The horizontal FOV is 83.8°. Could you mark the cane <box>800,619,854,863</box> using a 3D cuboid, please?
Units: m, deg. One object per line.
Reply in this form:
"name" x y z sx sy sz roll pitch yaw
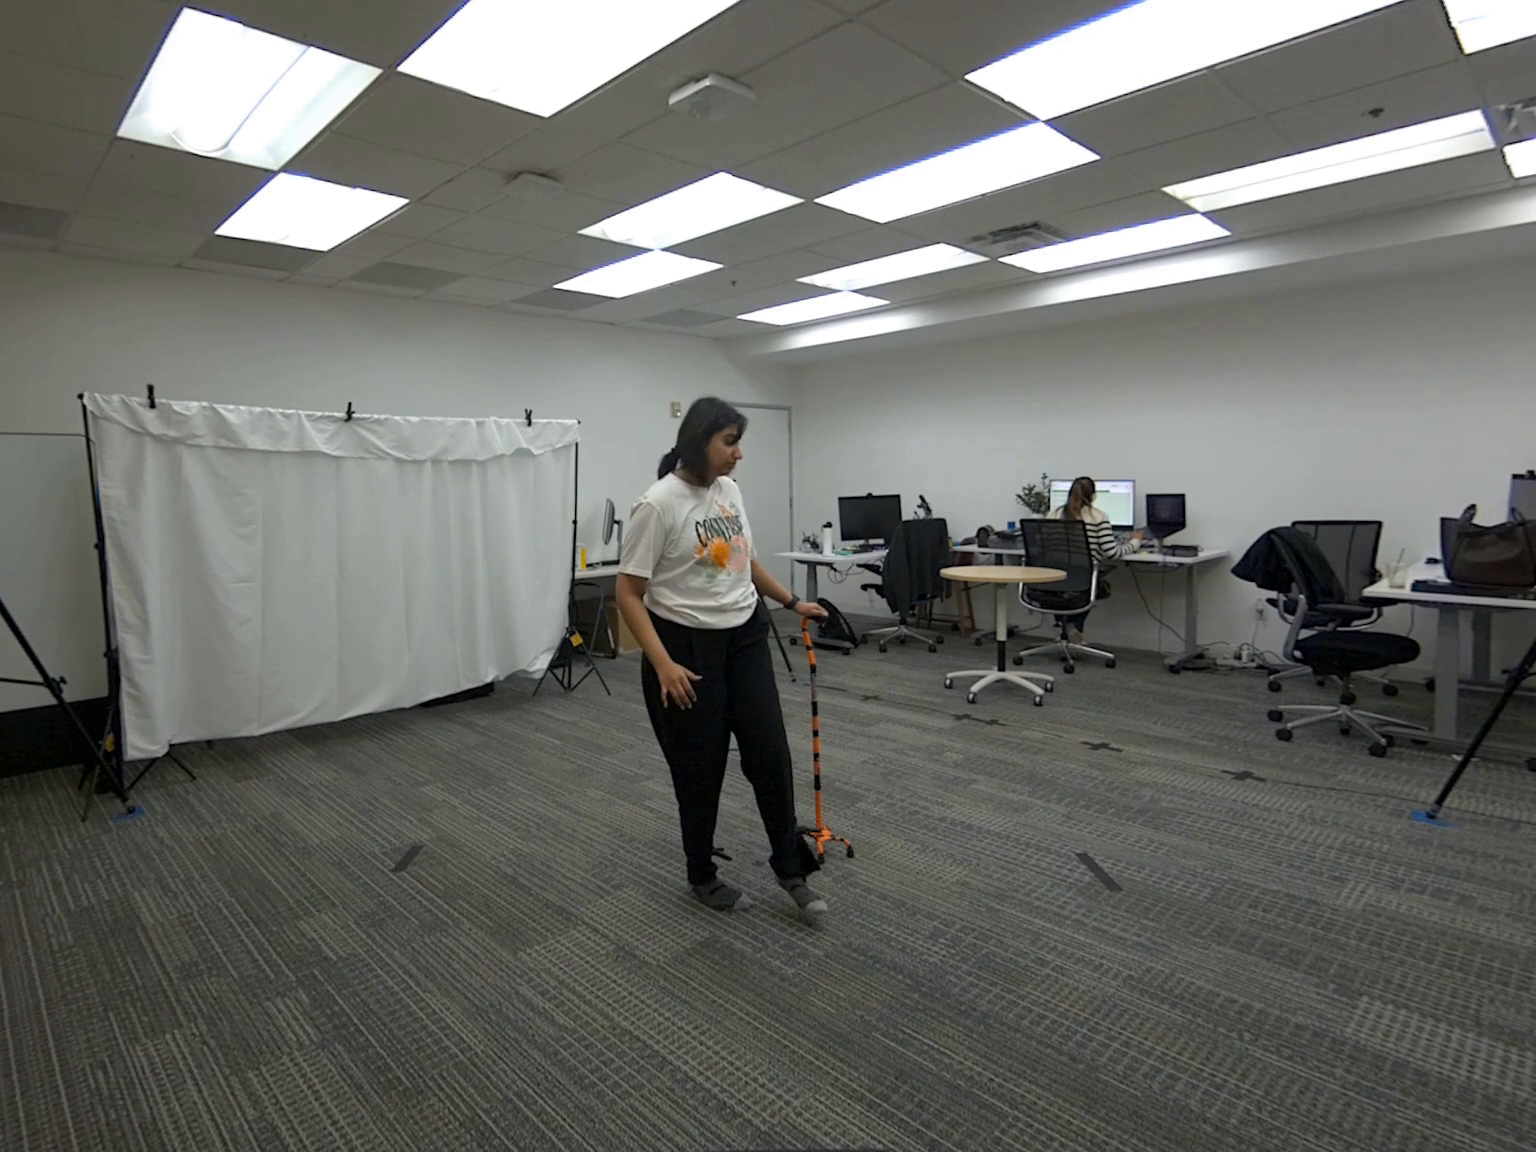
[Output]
"cane" 0.194 0.580 3.181 0.149 0.904 0.211 -4 4 -24
